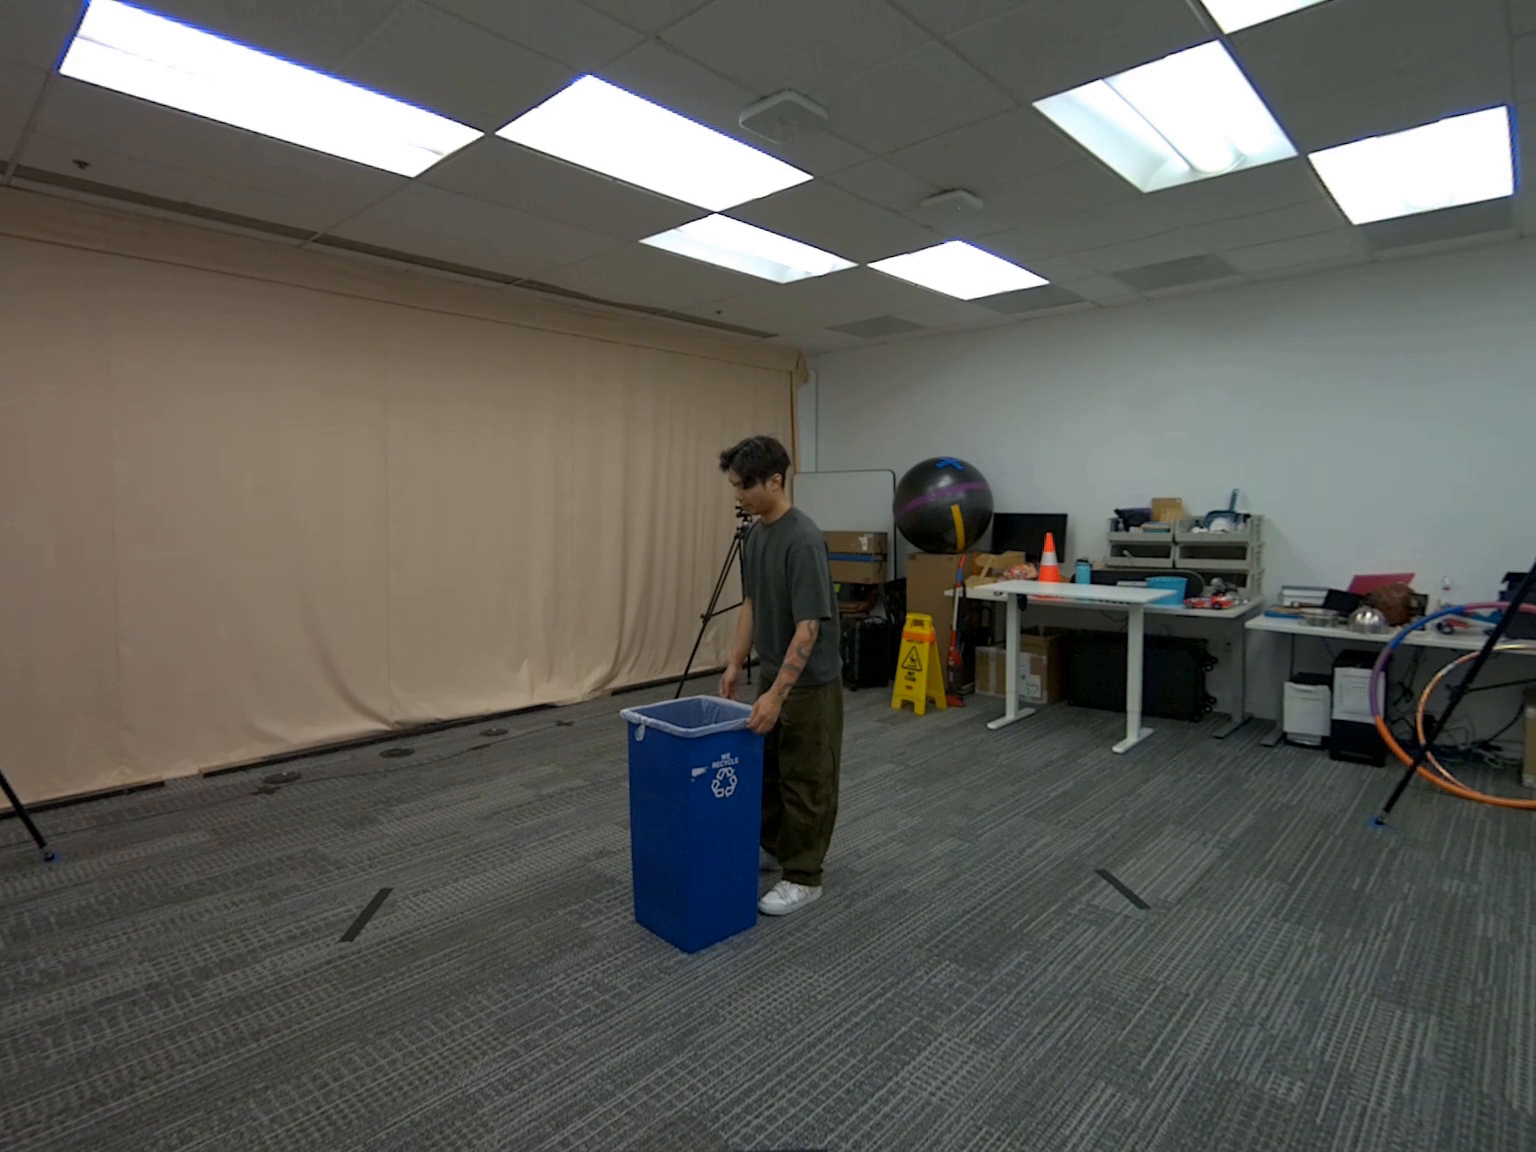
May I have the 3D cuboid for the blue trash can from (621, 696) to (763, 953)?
[{"bbox_3d":[-0.235,0.803,2.796,0.366,0.712,0.386,-3,4,-43],"label":"blue trash can"}]
